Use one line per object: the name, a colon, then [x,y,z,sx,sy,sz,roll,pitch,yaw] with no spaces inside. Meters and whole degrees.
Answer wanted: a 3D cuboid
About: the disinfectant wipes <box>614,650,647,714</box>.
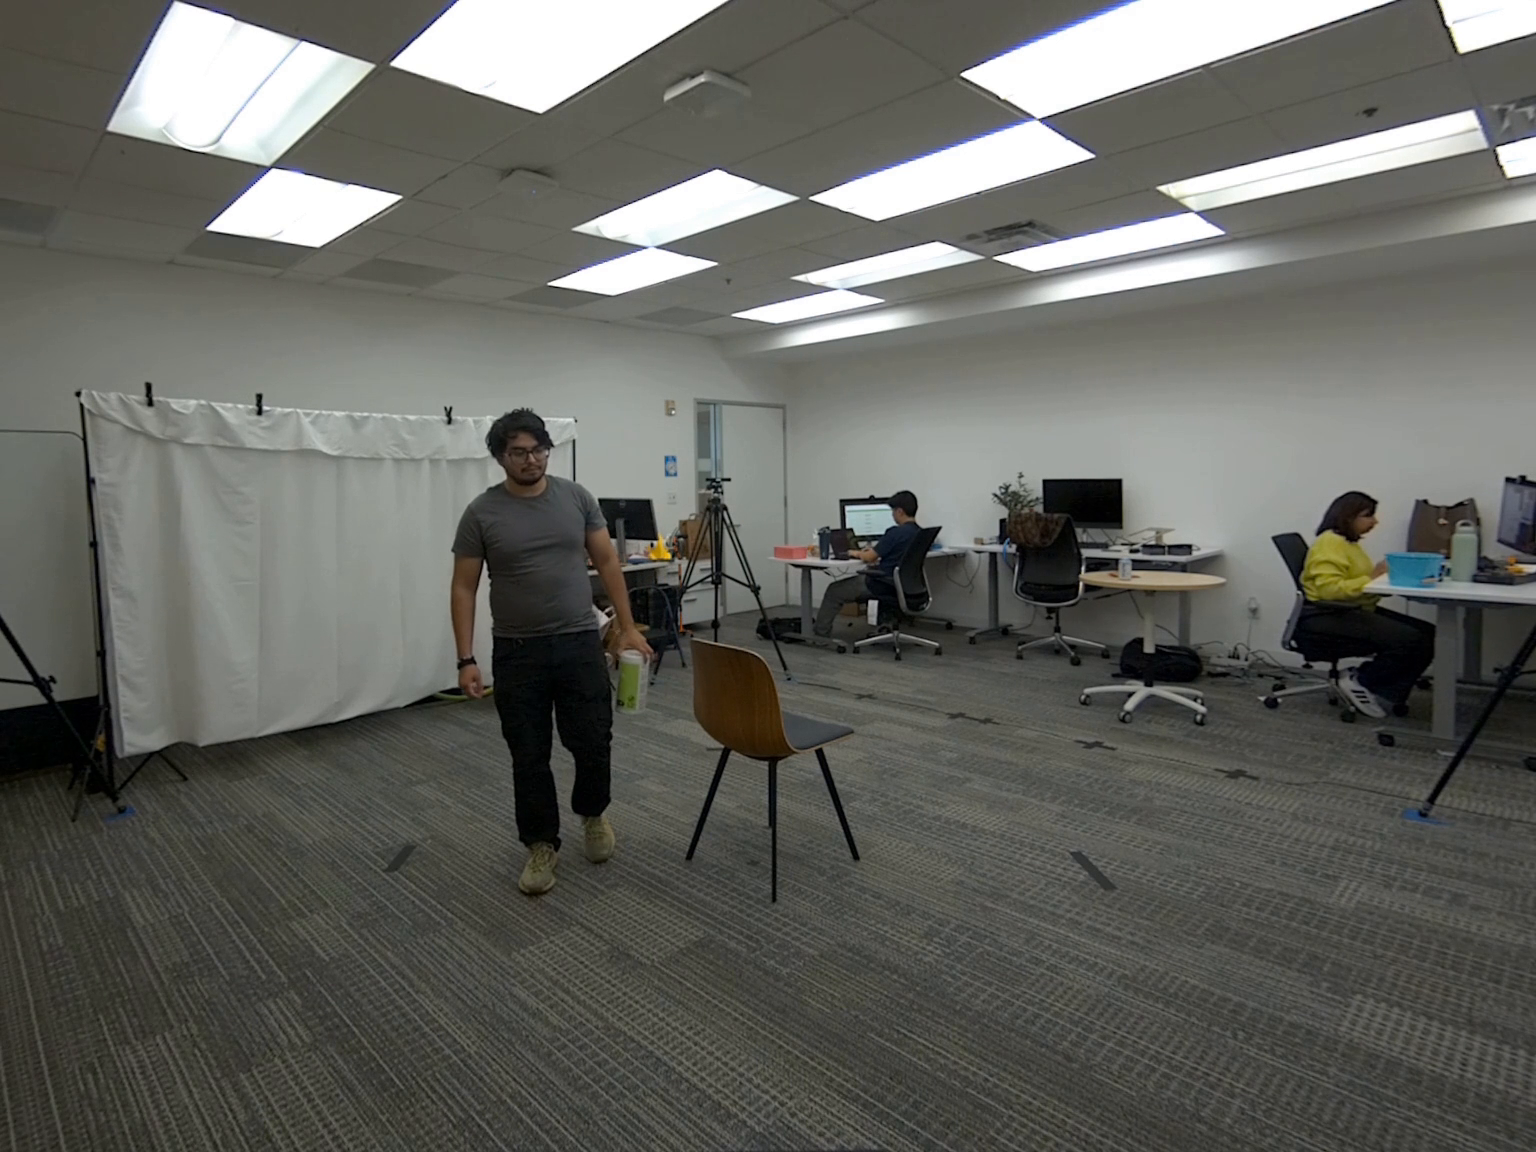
disinfectant wipes: [-0.486,0.377,3.064,0.117,0.216,0.119,6,7,-3]
